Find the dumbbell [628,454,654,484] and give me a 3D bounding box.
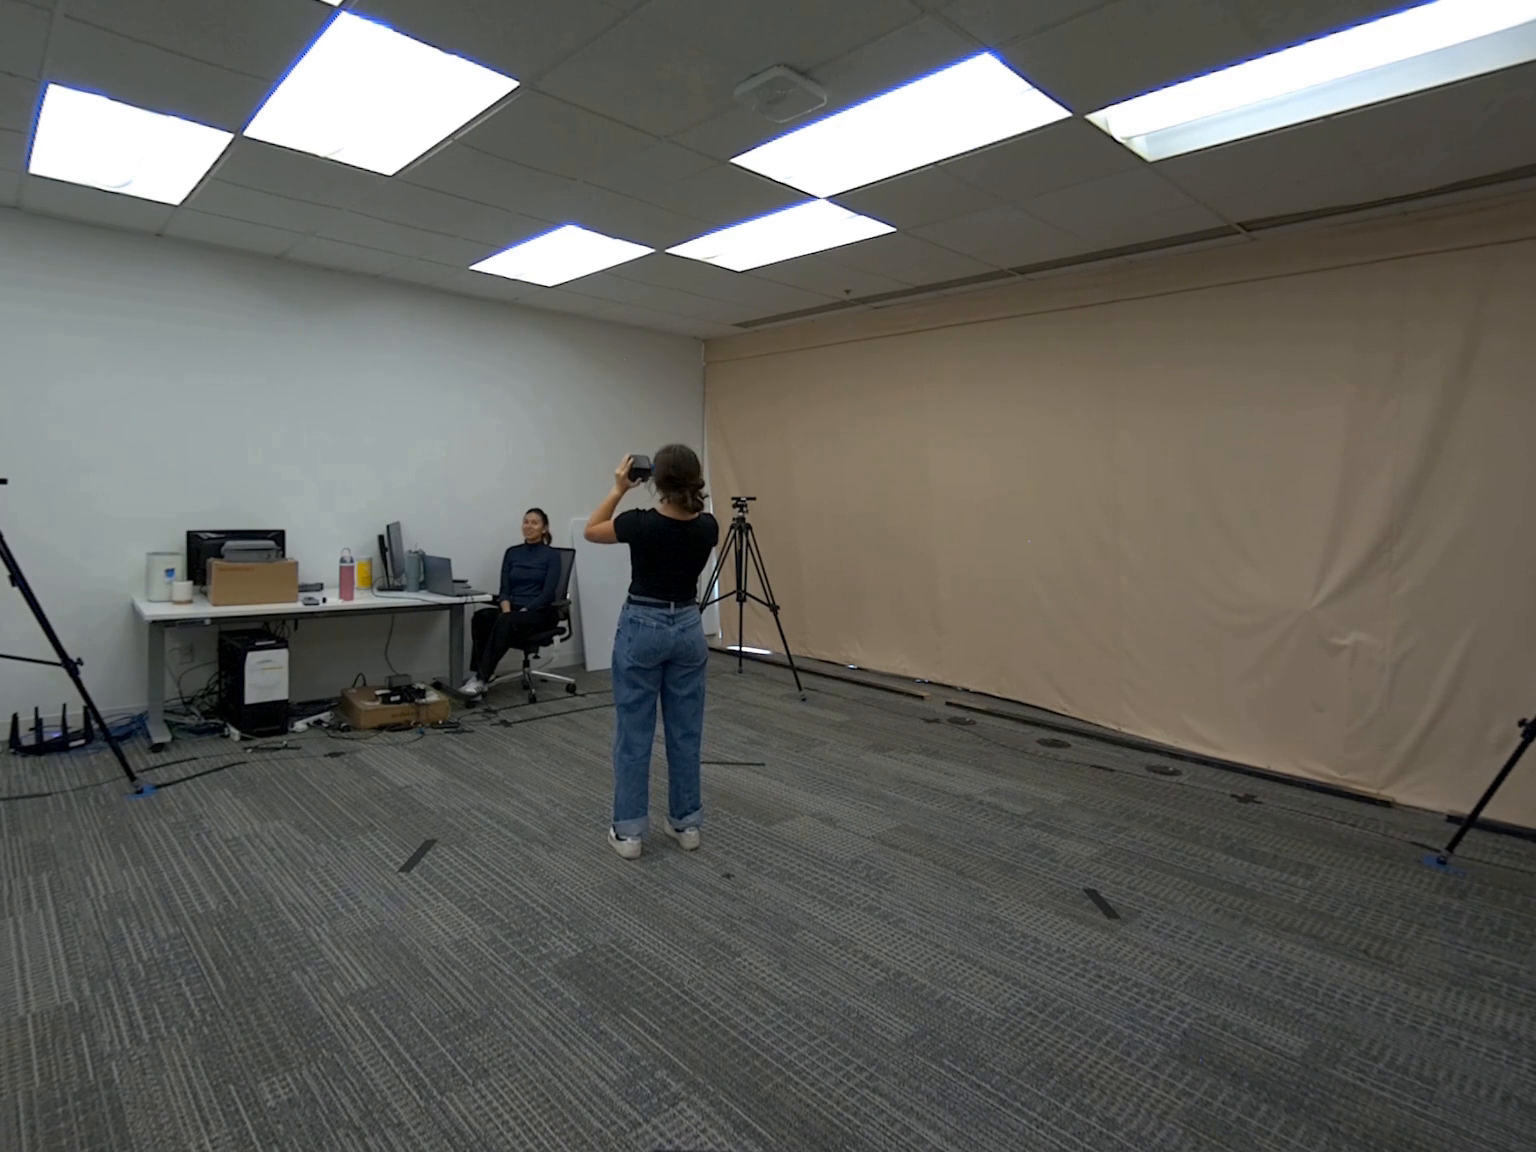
[{"bbox_3d":[-0.430,-0.437,3.406,0.288,0.125,0.108,-1,-28,-24],"label":"dumbbell"}]
